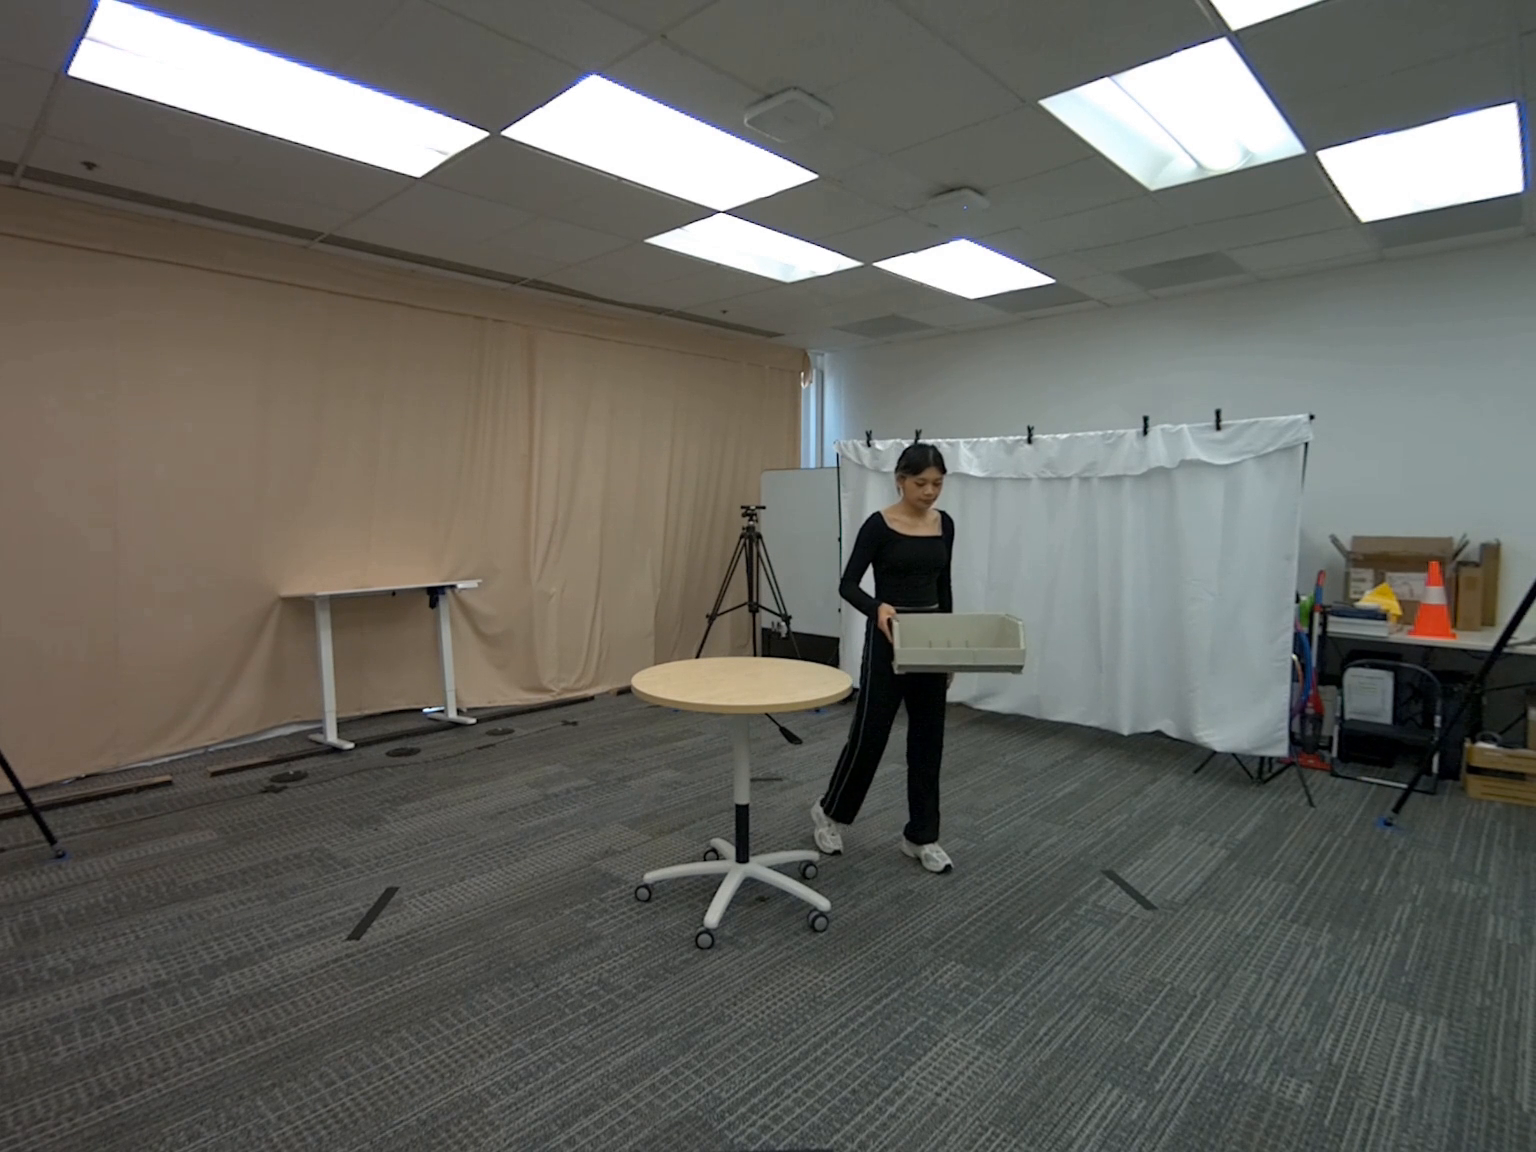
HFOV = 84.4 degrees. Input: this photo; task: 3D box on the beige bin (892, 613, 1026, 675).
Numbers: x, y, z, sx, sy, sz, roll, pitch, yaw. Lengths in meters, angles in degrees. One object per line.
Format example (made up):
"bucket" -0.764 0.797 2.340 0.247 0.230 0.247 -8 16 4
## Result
"beige bin" 0.645 0.241 2.926 0.427 0.189 0.373 -1 1 9
